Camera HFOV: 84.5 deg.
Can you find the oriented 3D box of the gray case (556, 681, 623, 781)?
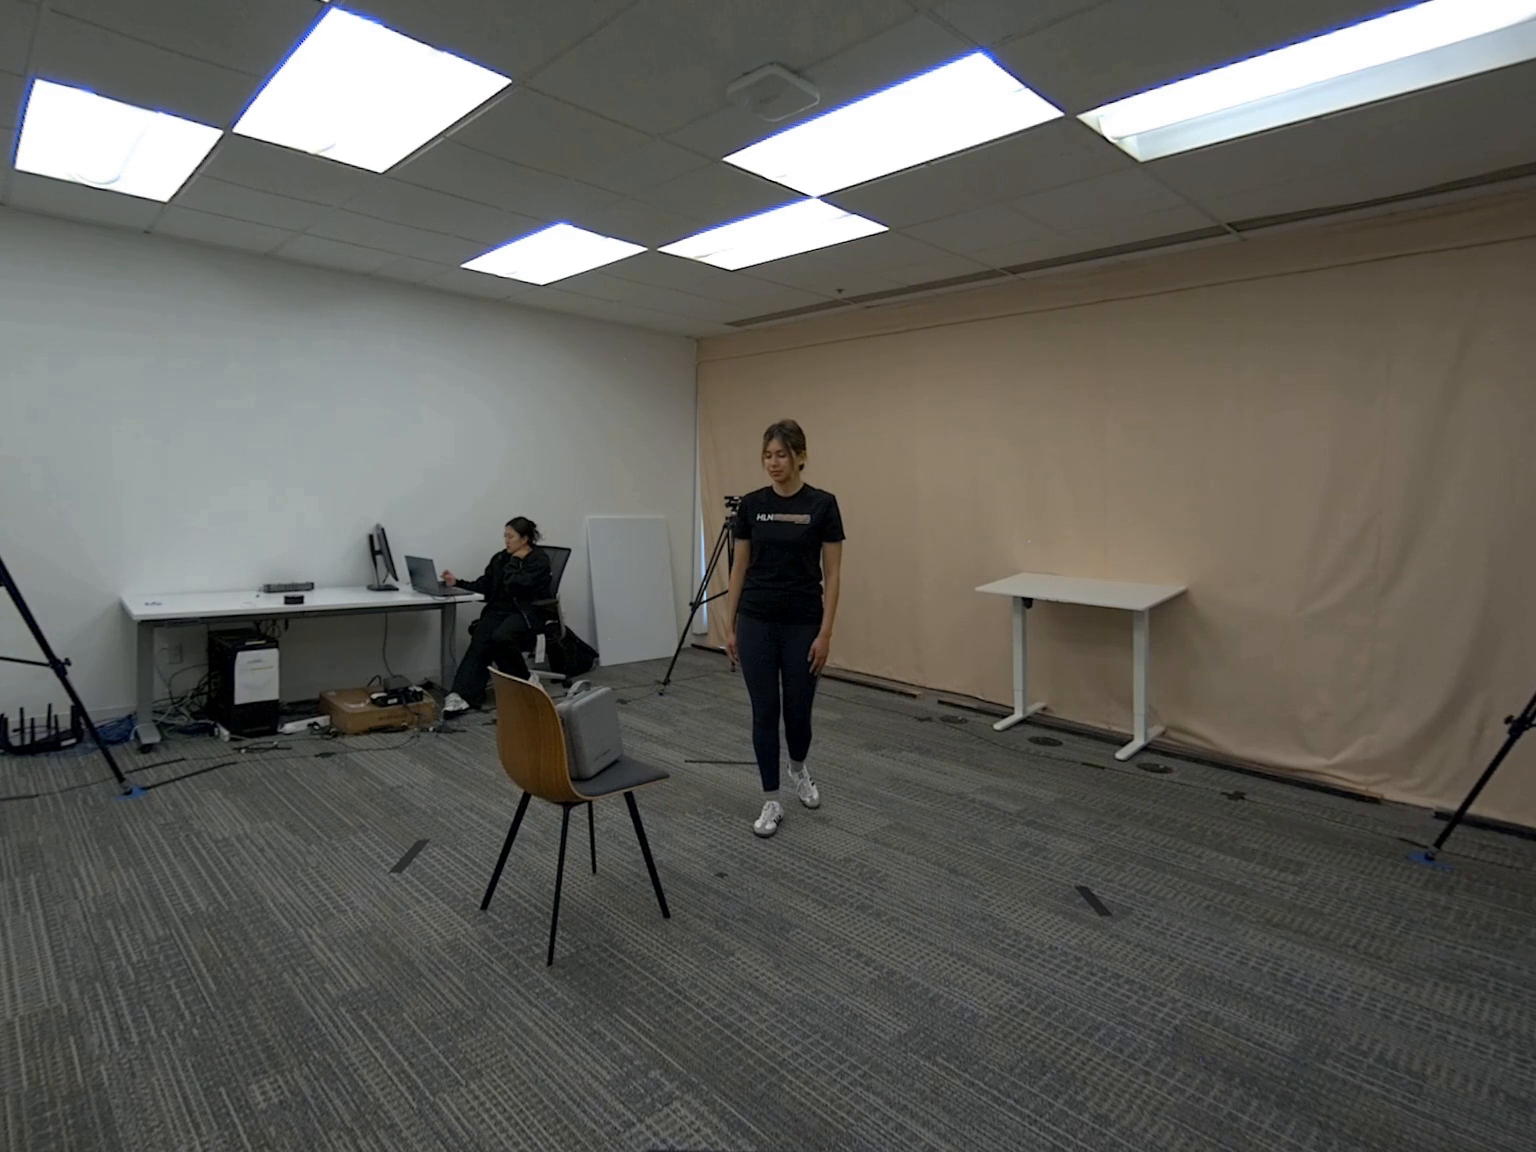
[{"bbox_3d":[-0.604,0.517,2.792,0.106,0.260,0.254,-6,4,21],"label":"gray case"}]
